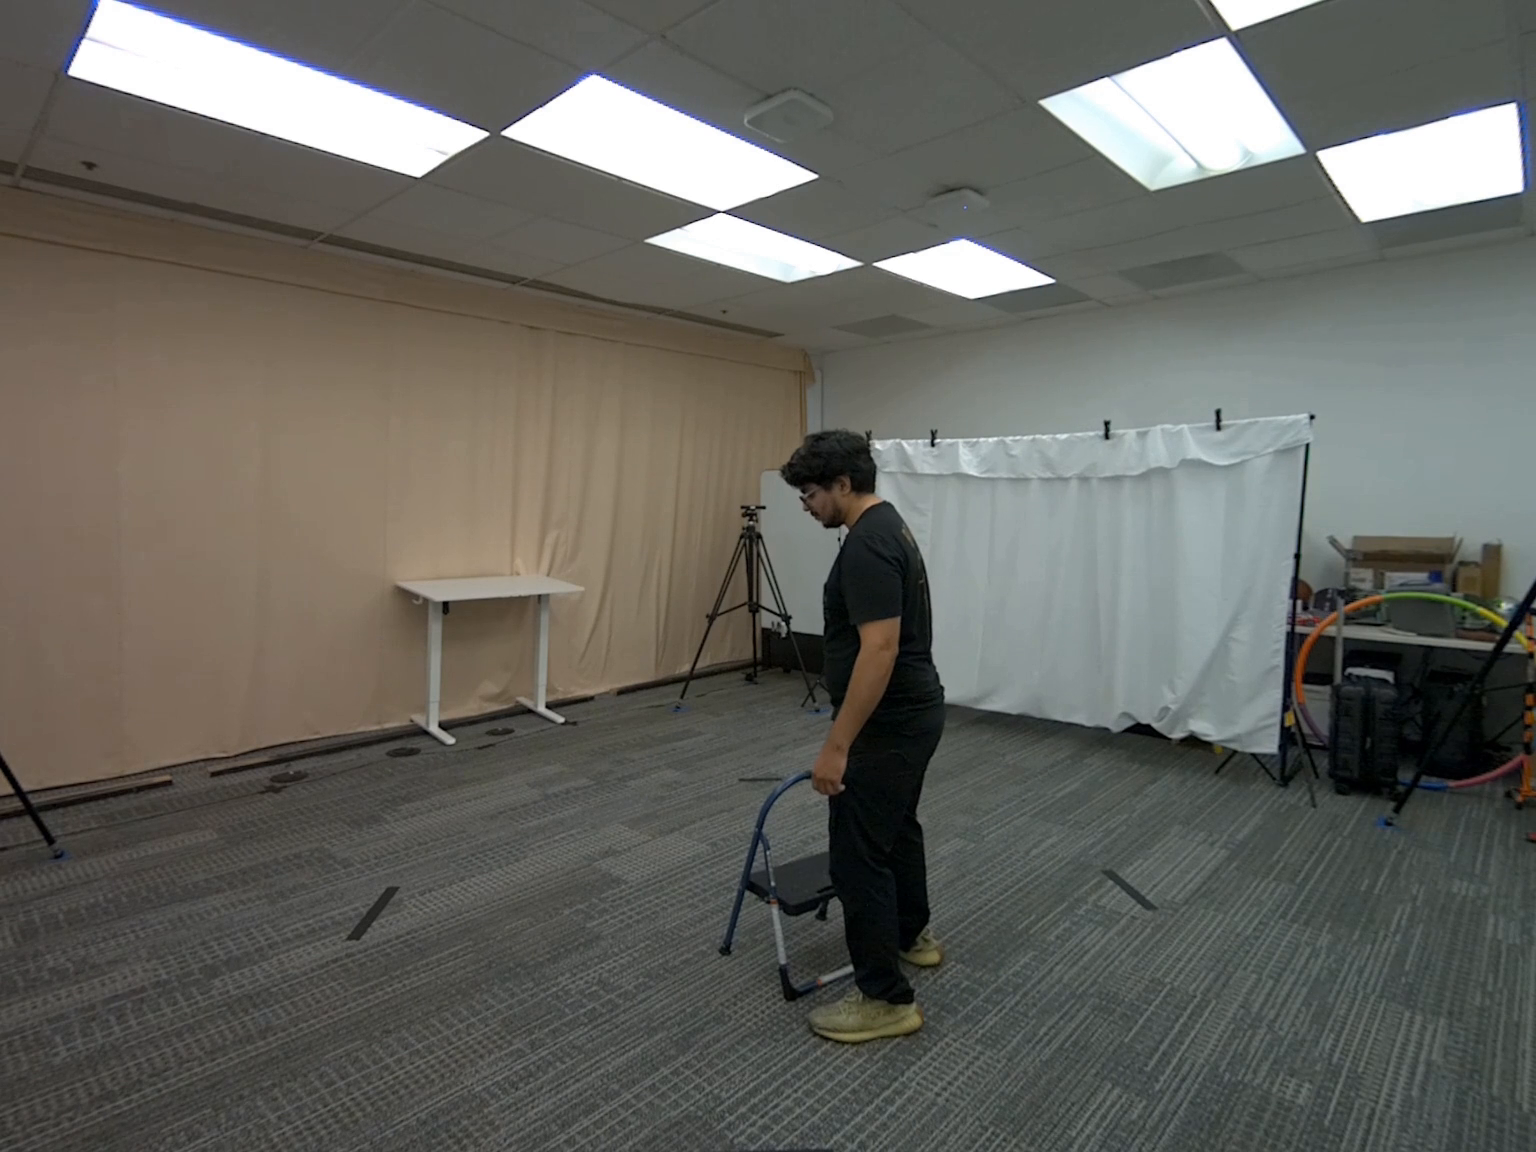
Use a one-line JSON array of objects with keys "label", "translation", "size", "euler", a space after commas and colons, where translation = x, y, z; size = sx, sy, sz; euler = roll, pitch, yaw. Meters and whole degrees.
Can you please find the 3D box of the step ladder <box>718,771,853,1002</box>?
[{"label": "step ladder", "translation": [0.114, 0.874, 2.593], "size": [0.418, 0.605, 0.360], "euler": [-2, 4, -36]}]
